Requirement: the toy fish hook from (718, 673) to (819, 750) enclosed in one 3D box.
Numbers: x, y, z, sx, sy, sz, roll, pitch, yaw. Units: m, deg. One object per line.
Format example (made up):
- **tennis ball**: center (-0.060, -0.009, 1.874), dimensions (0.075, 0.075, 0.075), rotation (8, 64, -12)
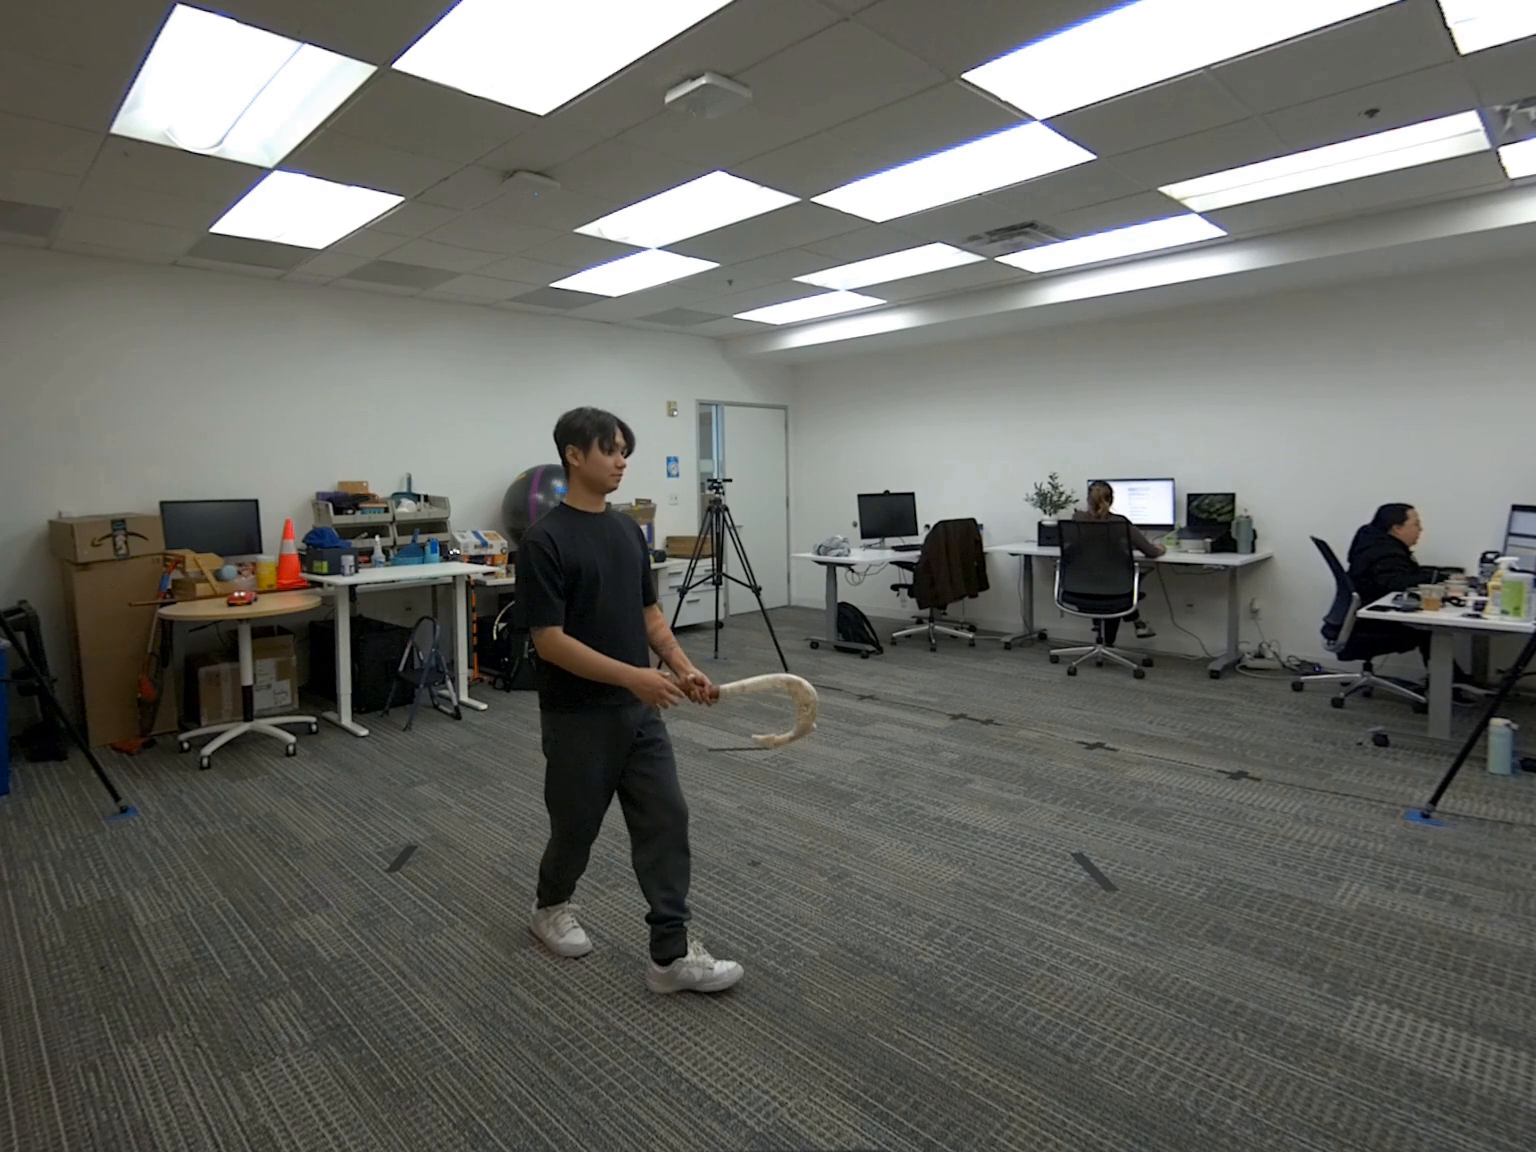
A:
- **toy fish hook**: center (-0.102, 0.395, 2.557), dimensions (0.504, 0.226, 0.048), rotation (3, -8, -4)
